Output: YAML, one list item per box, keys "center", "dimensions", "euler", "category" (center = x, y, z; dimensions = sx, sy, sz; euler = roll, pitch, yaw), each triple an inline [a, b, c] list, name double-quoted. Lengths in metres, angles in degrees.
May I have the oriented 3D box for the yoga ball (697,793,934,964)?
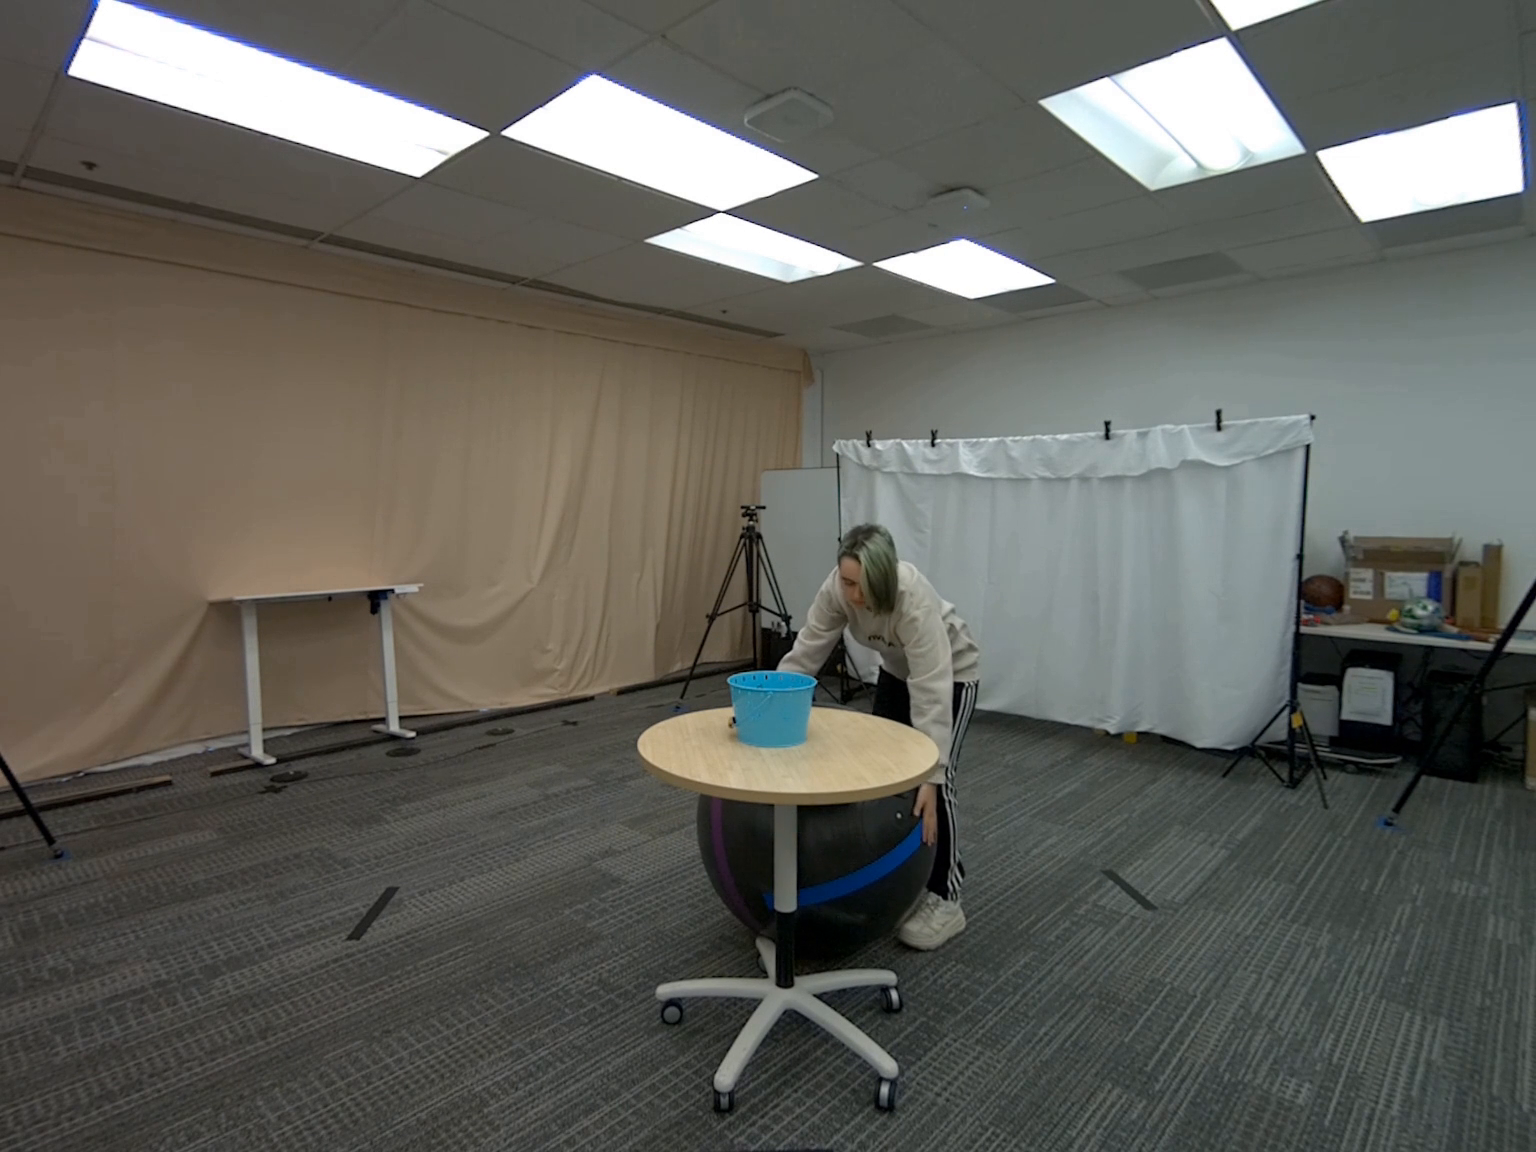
- center: [0.156, 0.794, 2.694]
  dimensions: [0.757, 0.756, 0.761]
  euler: [0, 4, -2]
  category: "yoga ball"
